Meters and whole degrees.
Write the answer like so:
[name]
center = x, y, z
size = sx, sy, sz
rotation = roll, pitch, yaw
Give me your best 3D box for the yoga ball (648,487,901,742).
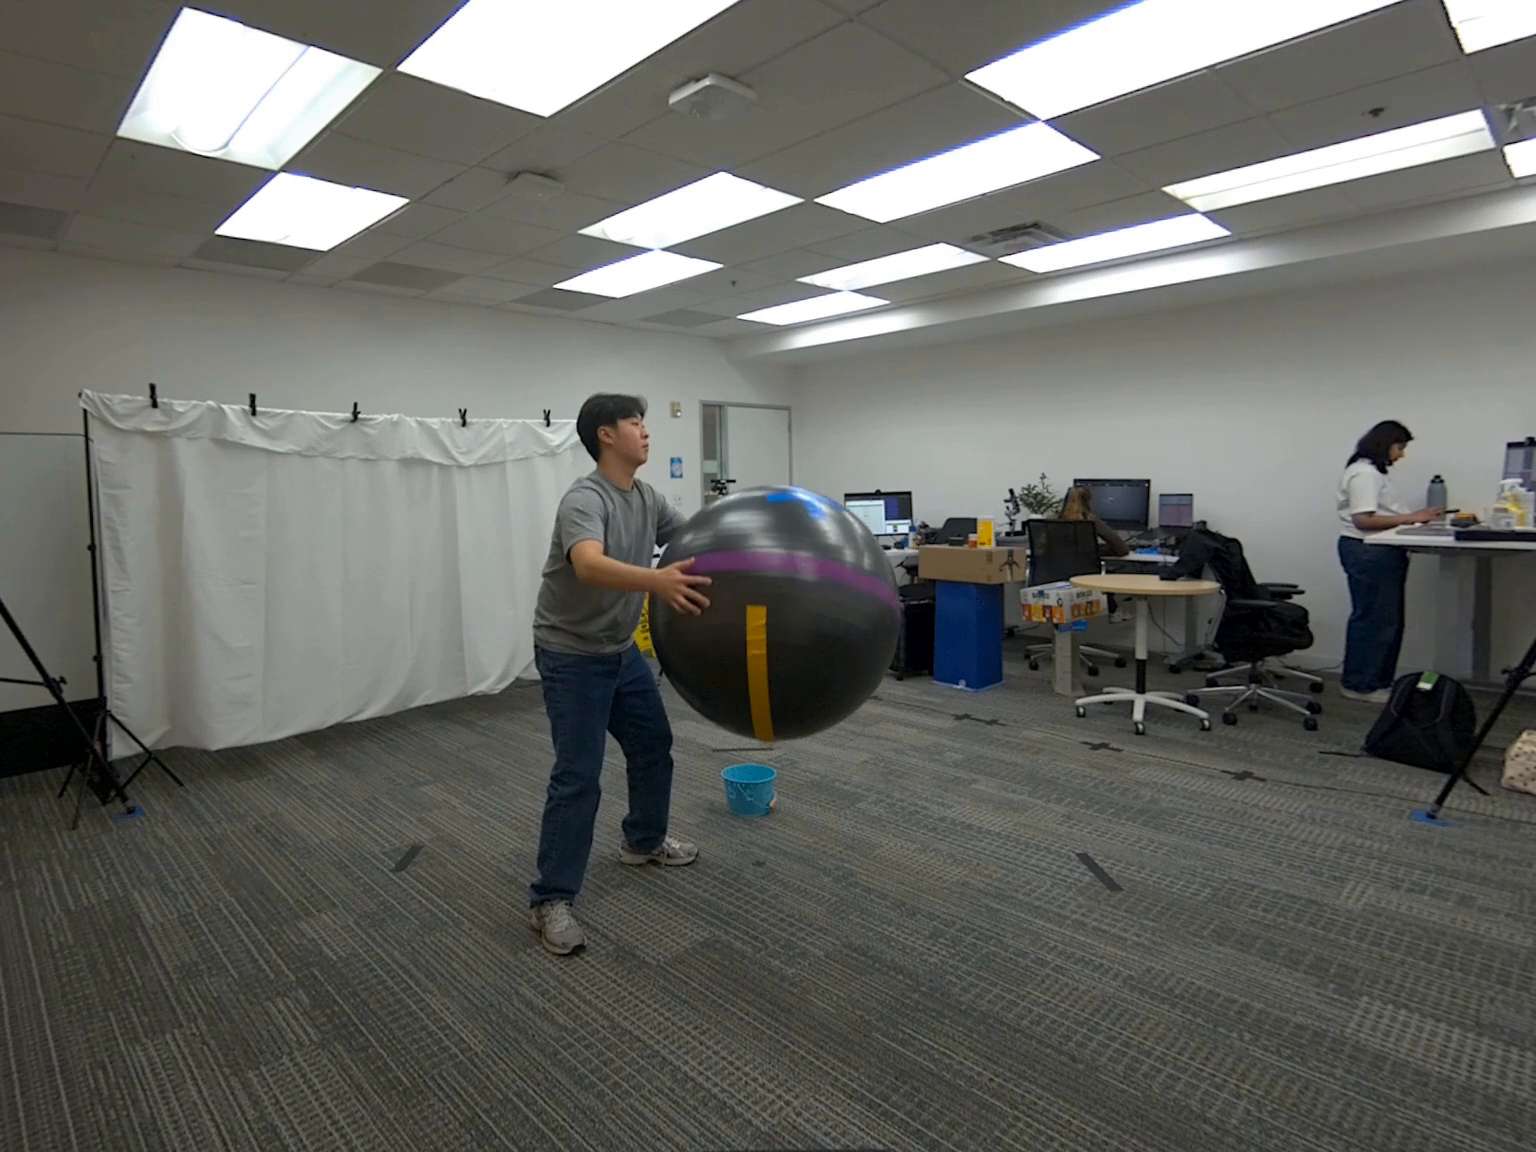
[yoga ball]
center = 0.012, 0.112, 2.573
size = 0.757, 0.755, 0.762
rotation = -1, 5, -2
